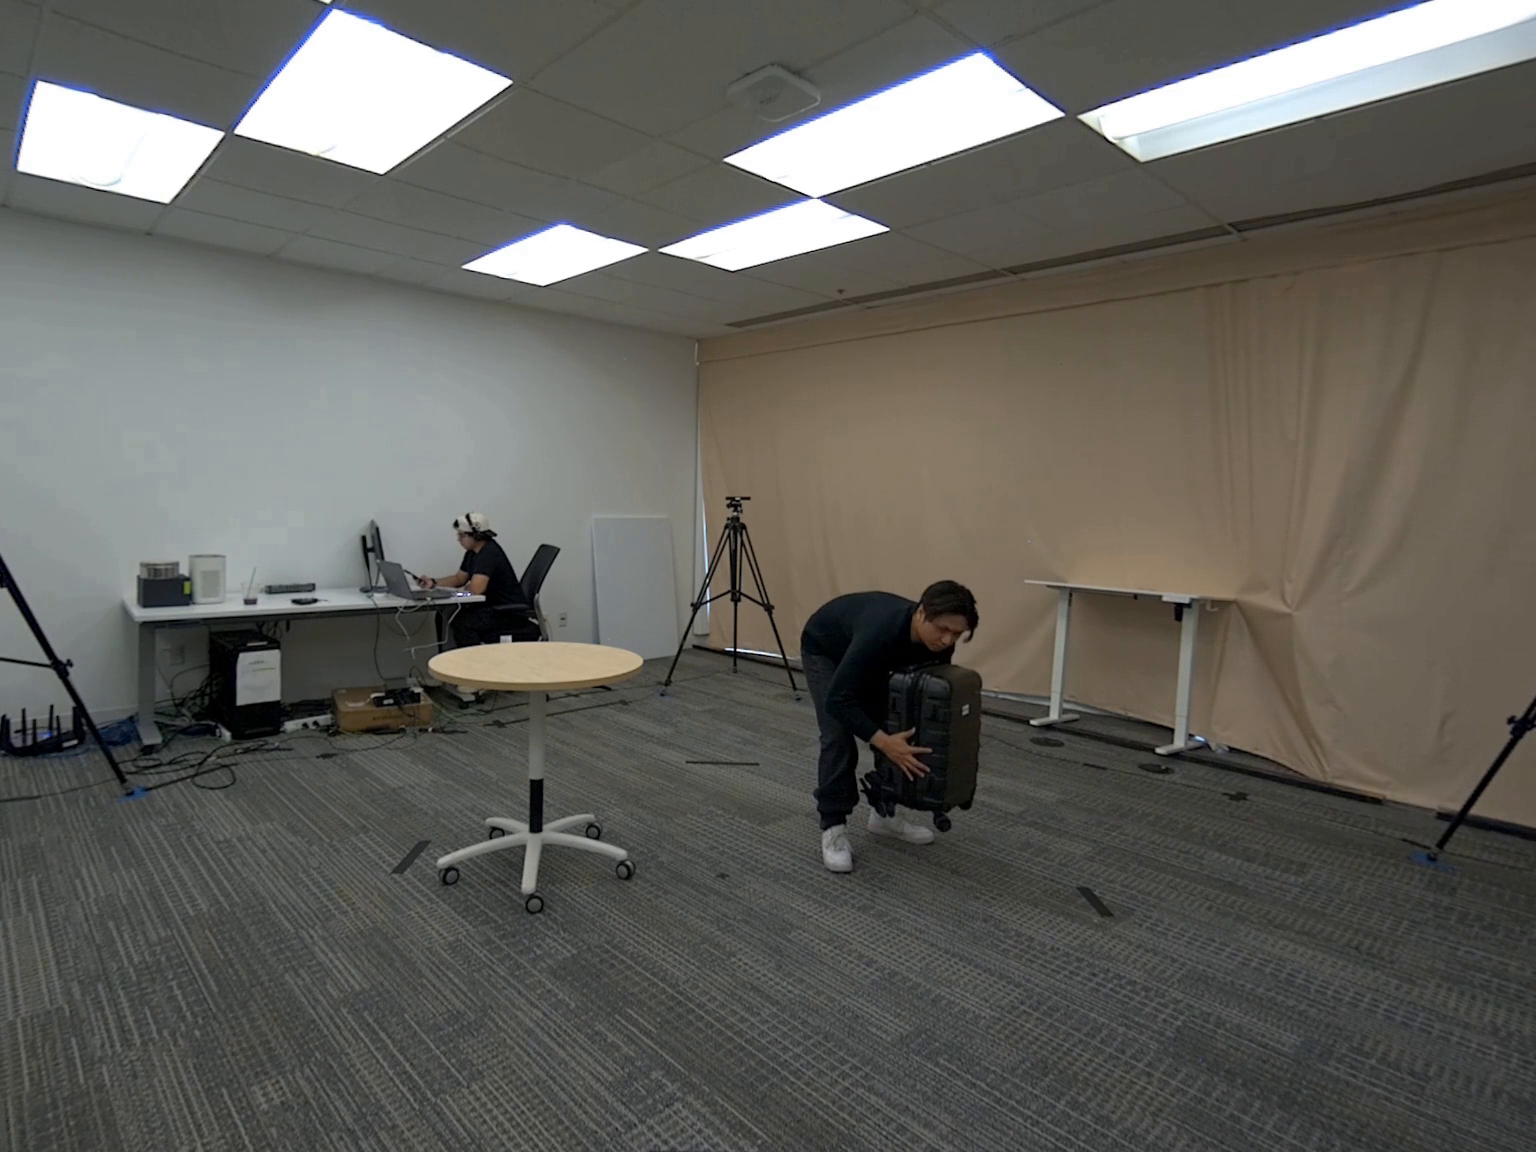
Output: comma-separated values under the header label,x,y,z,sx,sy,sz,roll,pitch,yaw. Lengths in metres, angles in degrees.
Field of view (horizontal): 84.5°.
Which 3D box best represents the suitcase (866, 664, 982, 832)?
label,x,y,z,sx,sy,sz,roll,pitch,yaw
suitcase,0.597,0.596,3.123,0.254,0.548,0.367,5,4,37
